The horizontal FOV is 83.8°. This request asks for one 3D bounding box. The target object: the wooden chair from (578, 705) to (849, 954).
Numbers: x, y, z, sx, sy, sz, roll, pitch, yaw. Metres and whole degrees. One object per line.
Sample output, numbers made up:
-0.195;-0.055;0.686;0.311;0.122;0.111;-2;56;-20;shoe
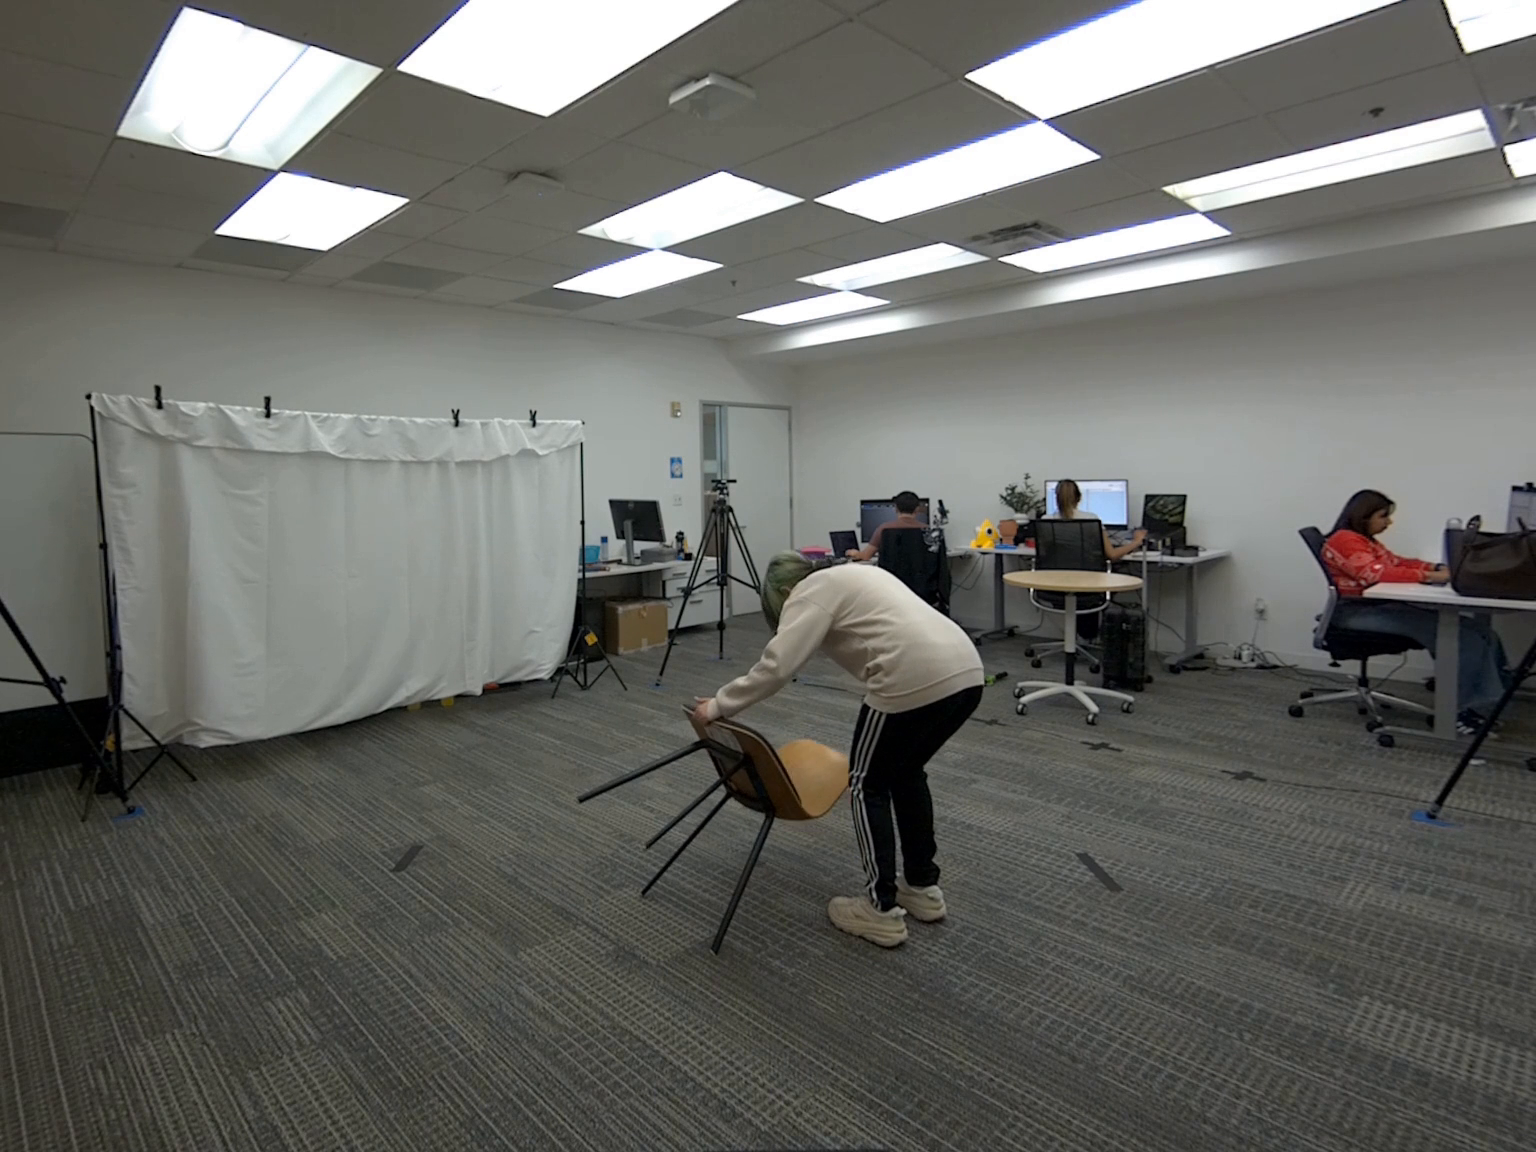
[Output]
-0.098;0.664;2.806;0.871;0.511;0.492;-36;23;-29;wooden chair
